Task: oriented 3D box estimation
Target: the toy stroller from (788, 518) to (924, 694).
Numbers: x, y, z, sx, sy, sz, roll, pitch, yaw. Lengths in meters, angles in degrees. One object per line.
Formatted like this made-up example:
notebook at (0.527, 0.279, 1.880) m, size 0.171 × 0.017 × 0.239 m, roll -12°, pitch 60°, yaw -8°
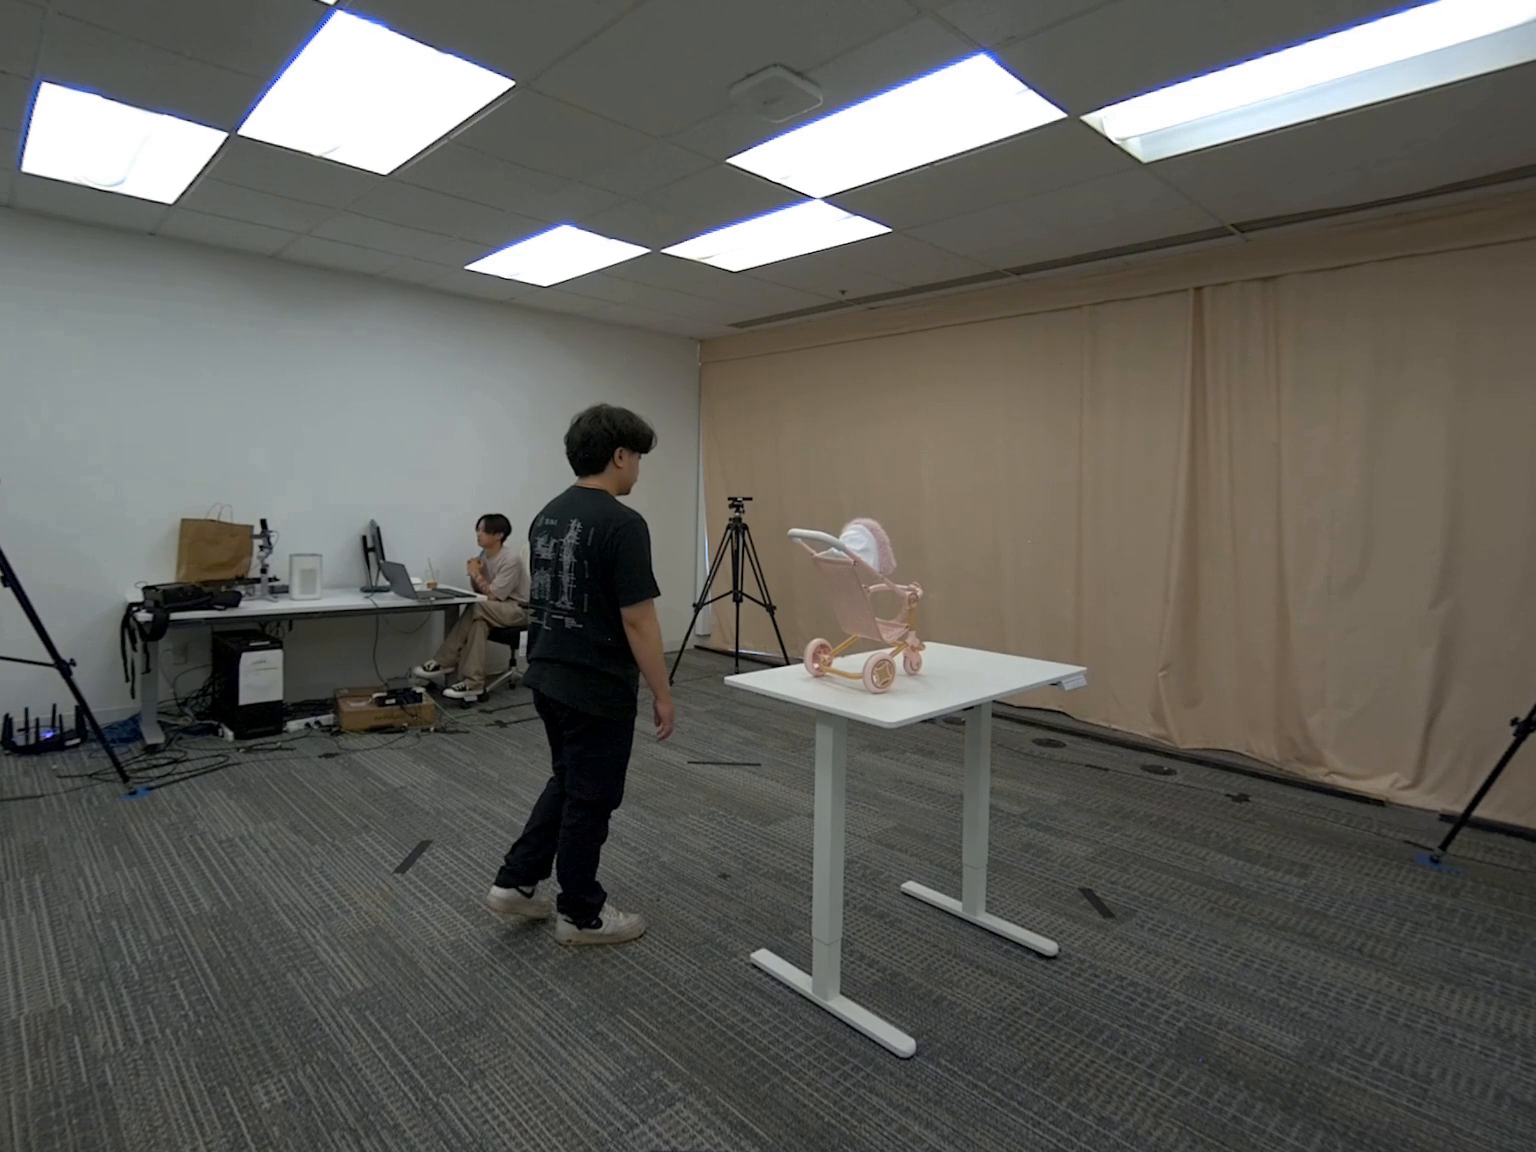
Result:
toy stroller at (0.278, 0.080, 2.370) m, size 0.337 × 0.529 × 0.288 m, roll -19°, pitch 13°, yaw -29°
